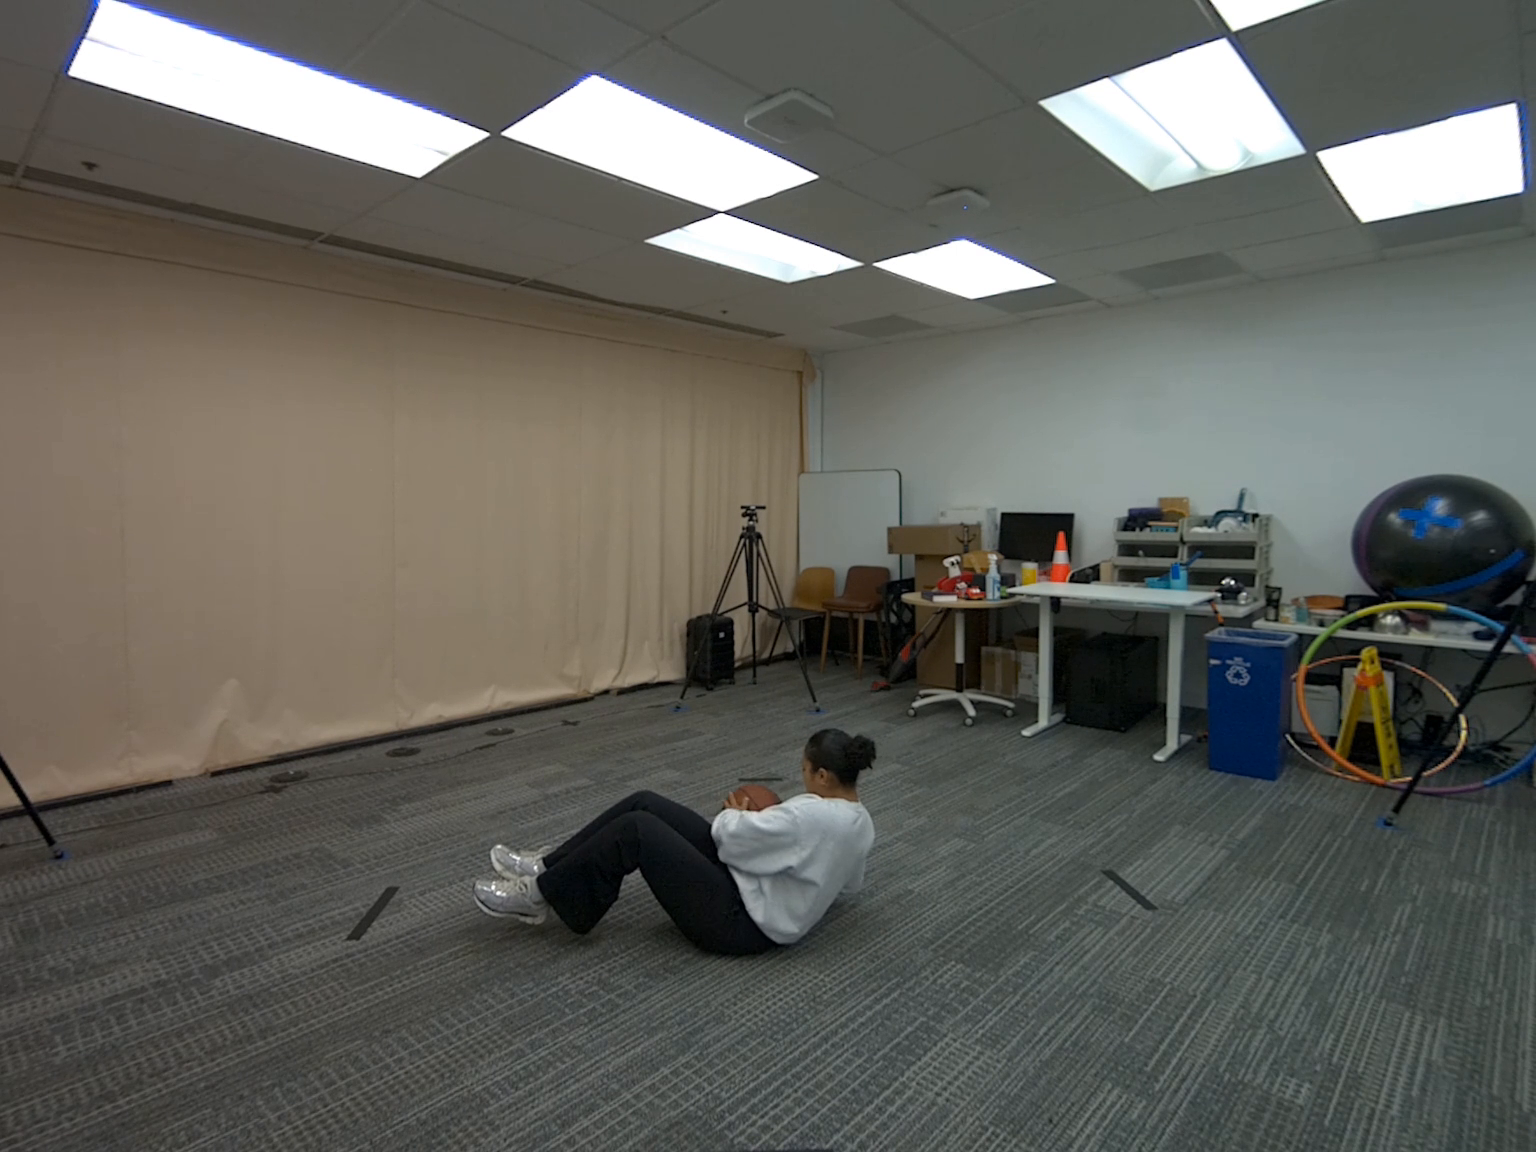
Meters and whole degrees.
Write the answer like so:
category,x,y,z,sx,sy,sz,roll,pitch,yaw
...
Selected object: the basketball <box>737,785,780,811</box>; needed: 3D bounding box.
category,x,y,z,sx,sy,sz,roll,pitch,yaw
basketball,-0.050,0.869,3.024,0.236,0.235,0.237,0,4,-2
